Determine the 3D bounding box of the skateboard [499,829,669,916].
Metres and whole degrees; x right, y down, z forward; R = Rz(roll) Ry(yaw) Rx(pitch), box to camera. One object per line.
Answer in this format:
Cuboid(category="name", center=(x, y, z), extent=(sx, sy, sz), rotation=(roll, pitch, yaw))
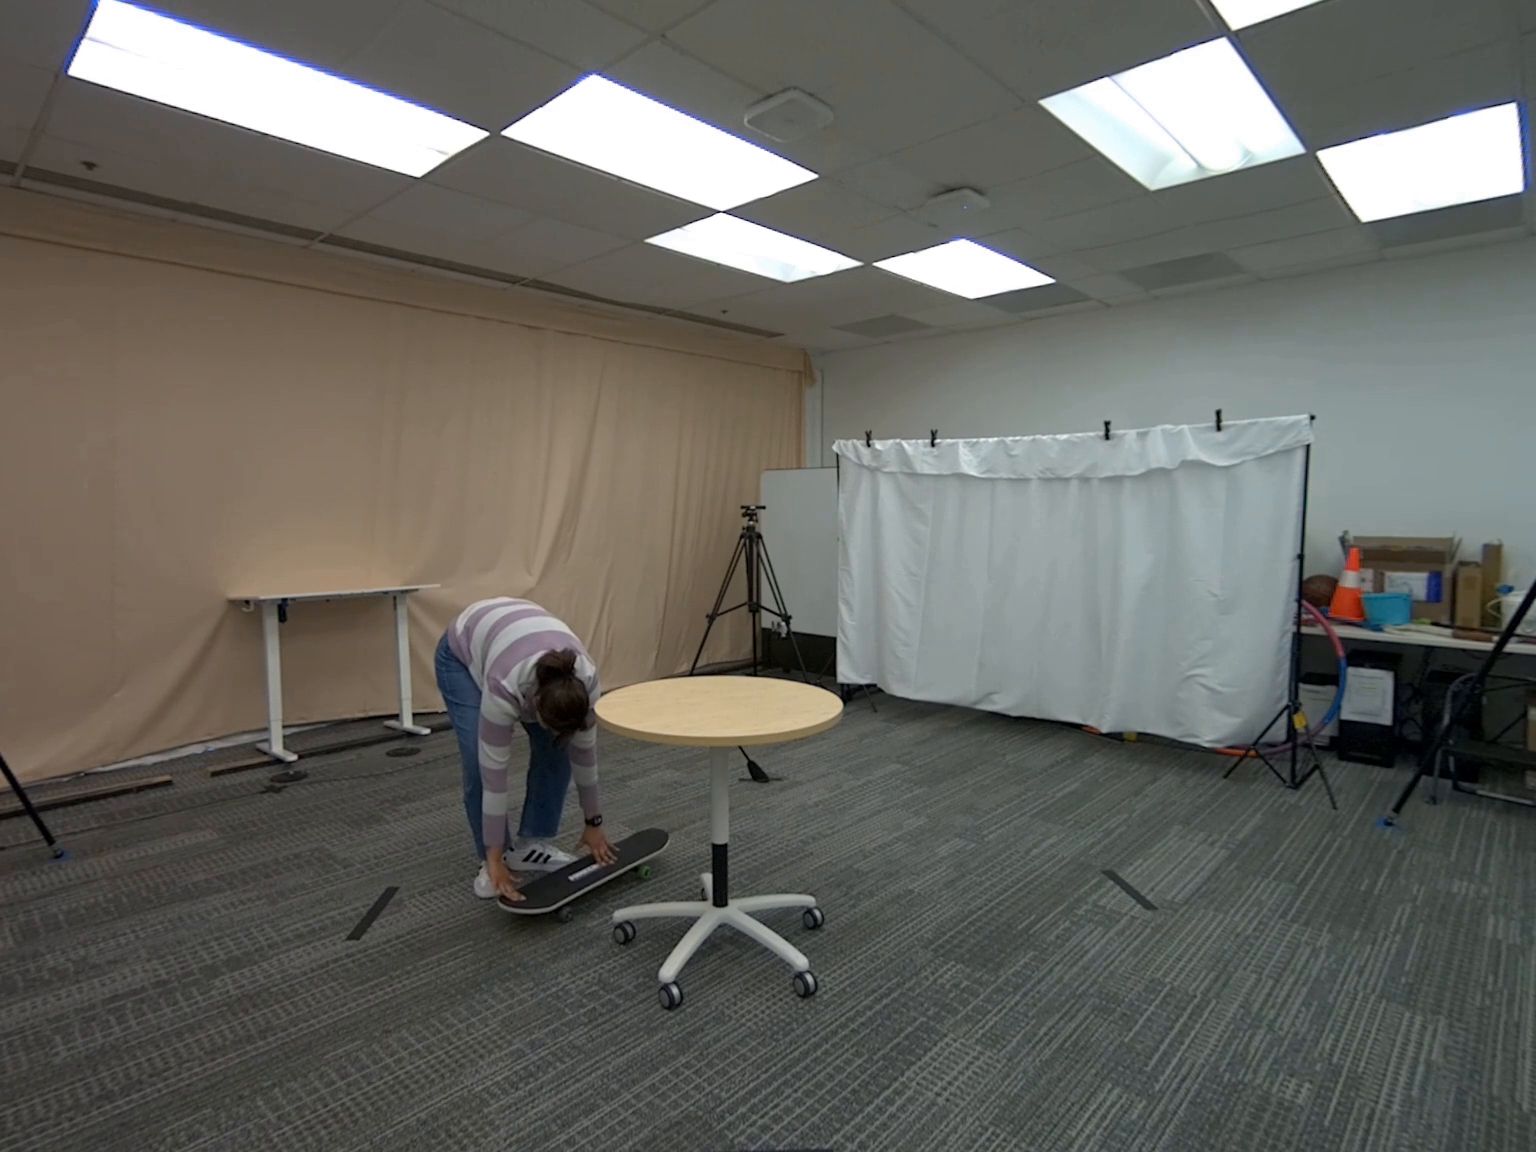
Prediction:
Cuboid(category="skateboard", center=(-0.639, 1.088, 3.032), extent=(0.199, 0.110, 0.763), rotation=(3, 6, 35))
